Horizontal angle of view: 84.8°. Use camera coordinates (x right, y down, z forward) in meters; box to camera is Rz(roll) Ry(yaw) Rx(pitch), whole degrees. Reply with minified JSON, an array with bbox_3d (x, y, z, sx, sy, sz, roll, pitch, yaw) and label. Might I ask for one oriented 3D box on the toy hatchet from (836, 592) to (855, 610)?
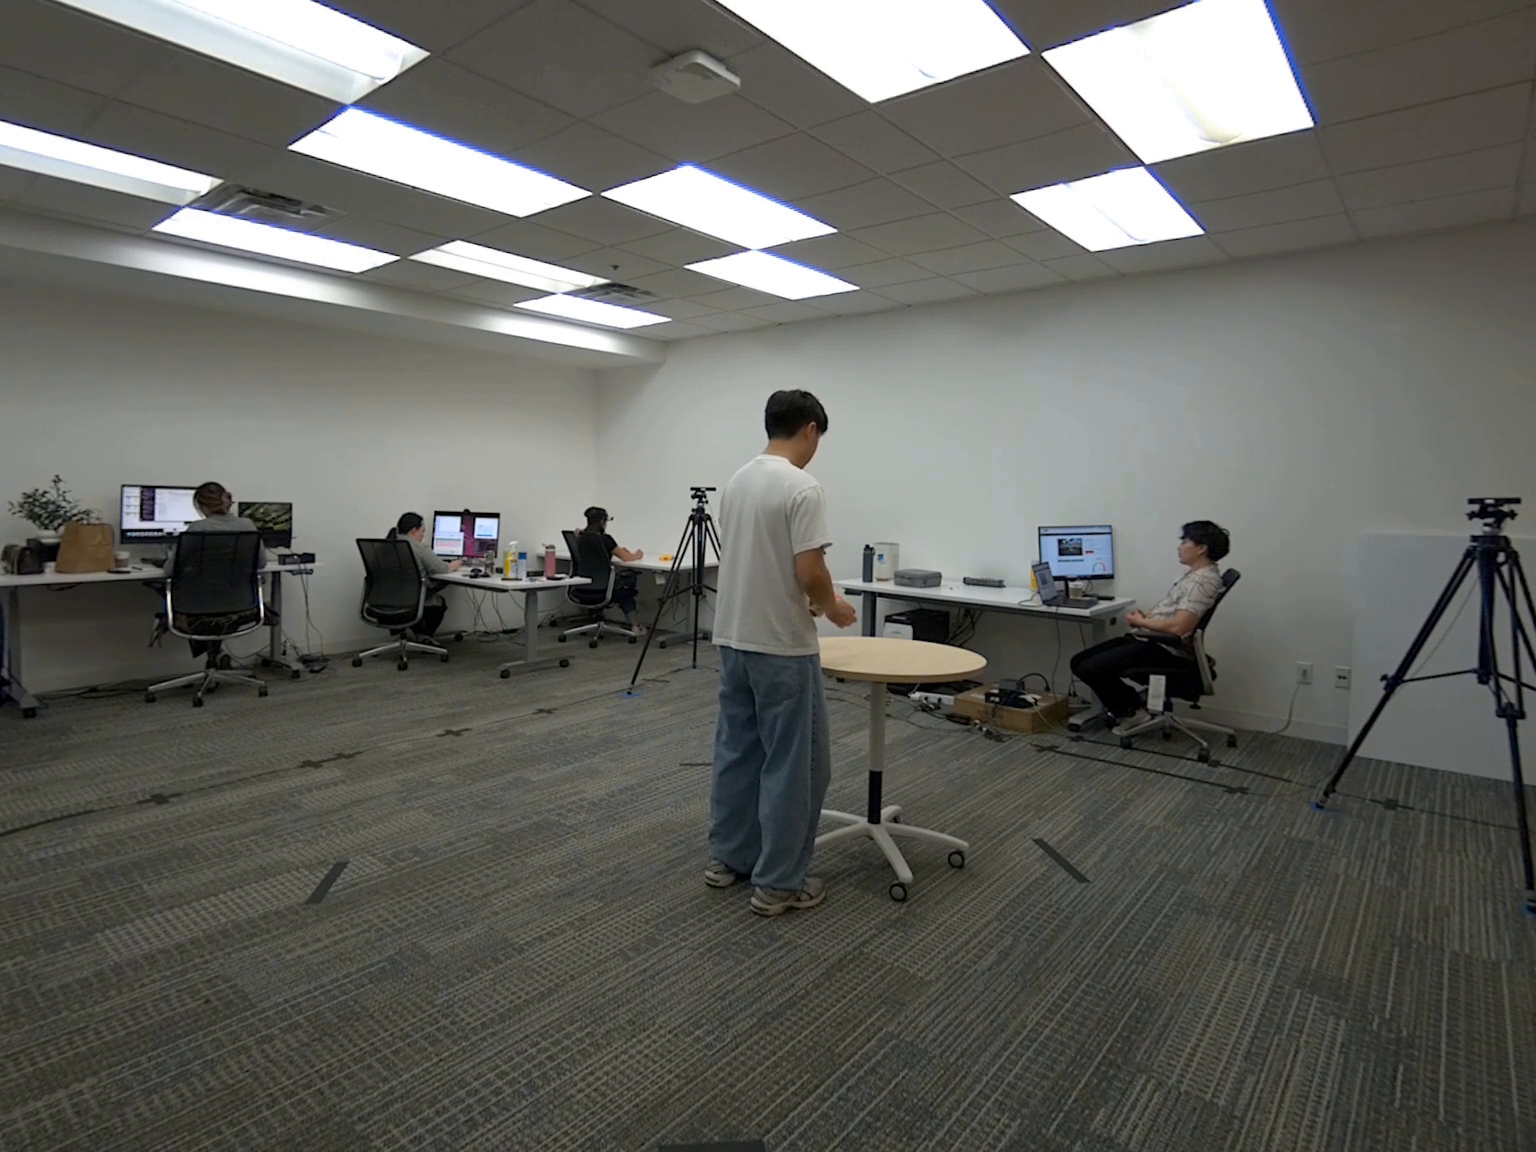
[{"bbox_3d":[0.250,0.128,3.161,0.132,0.029,0.268,38,21,6],"label":"toy hatchet"}]
